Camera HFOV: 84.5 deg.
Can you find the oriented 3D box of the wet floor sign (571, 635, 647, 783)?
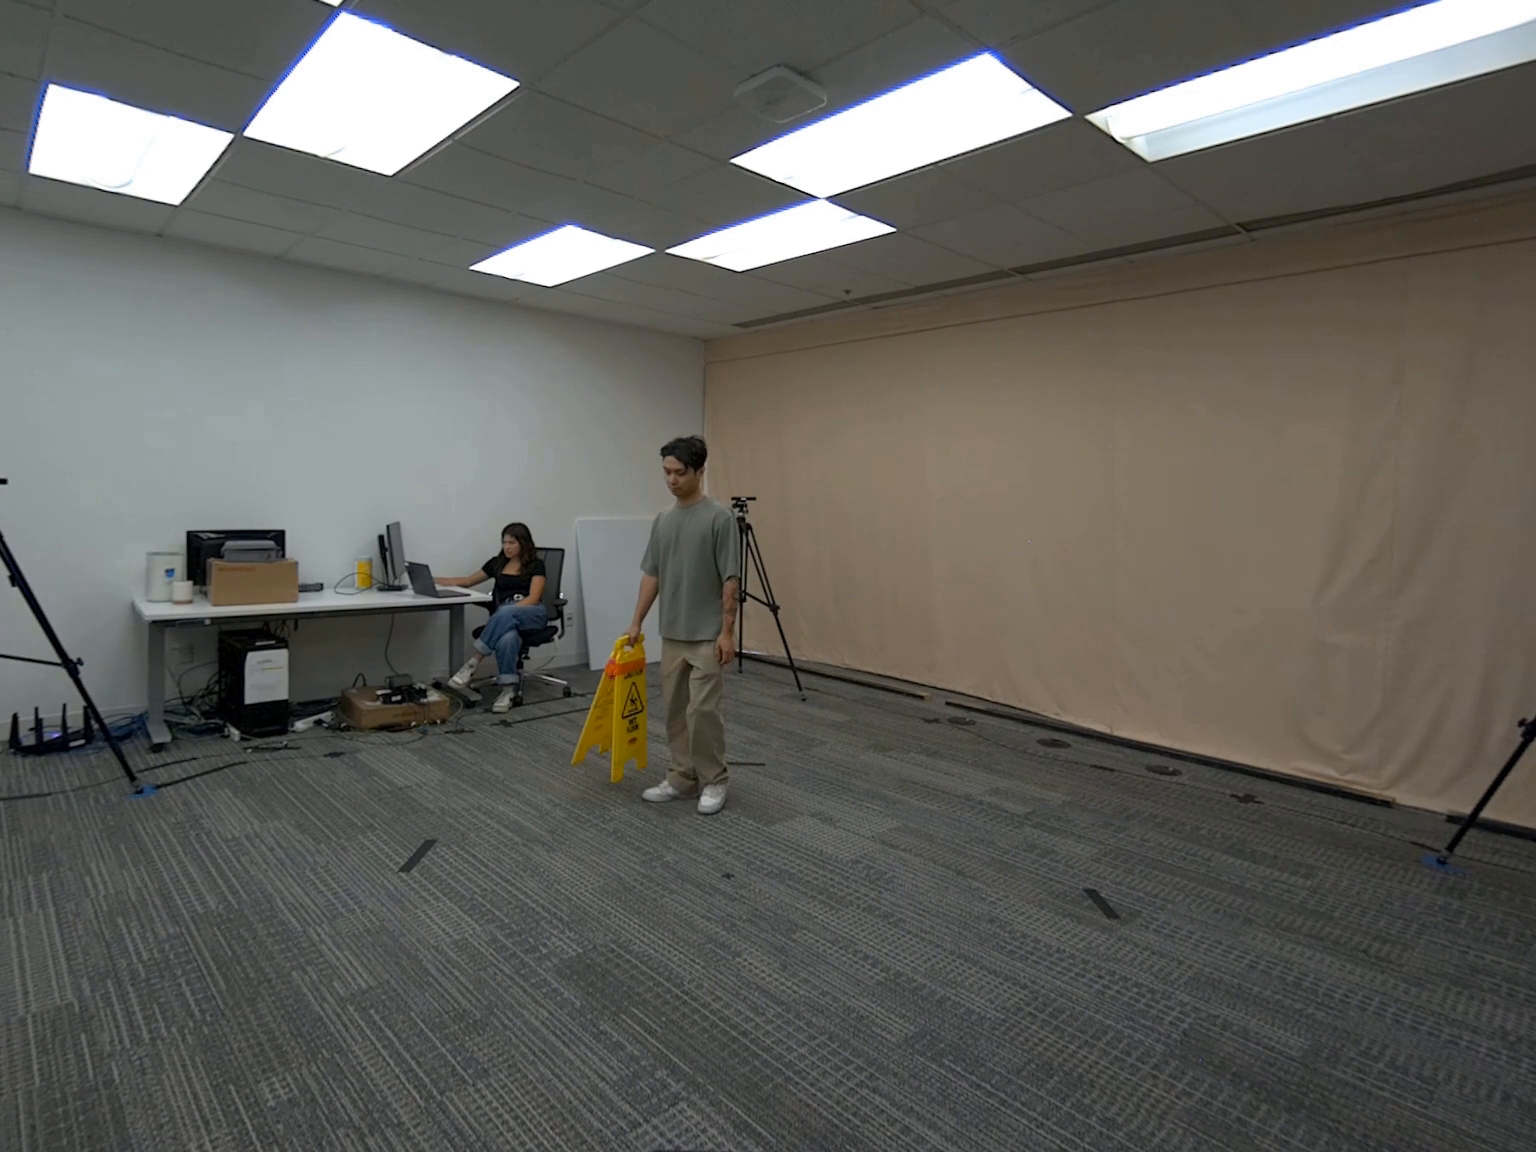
[{"bbox_3d":[-0.683,0.590,3.950,0.296,0.642,0.277,15,10,25],"label":"wet floor sign"}]
